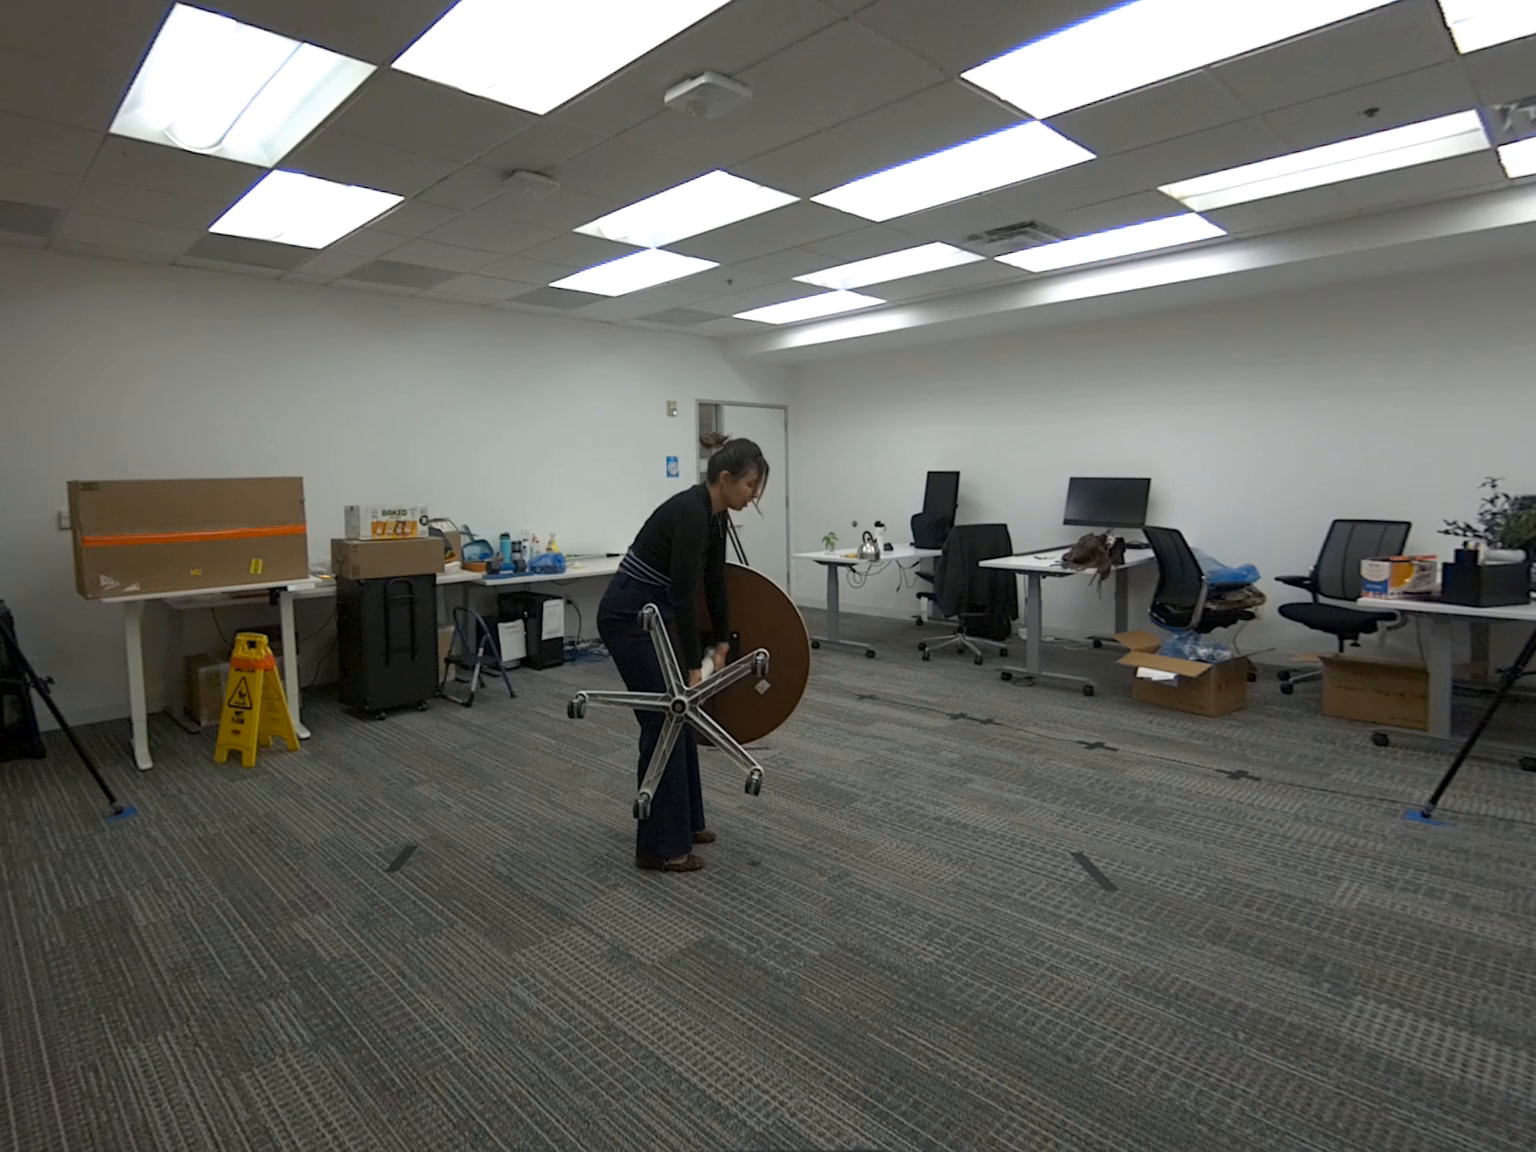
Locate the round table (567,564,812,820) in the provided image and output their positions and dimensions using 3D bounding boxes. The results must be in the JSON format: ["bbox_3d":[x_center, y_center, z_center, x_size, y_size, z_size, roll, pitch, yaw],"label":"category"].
[{"bbox_3d":[-0.250,0.392,3.082,0.770,0.759,0.793,0,8,7],"label":"round table"}]
